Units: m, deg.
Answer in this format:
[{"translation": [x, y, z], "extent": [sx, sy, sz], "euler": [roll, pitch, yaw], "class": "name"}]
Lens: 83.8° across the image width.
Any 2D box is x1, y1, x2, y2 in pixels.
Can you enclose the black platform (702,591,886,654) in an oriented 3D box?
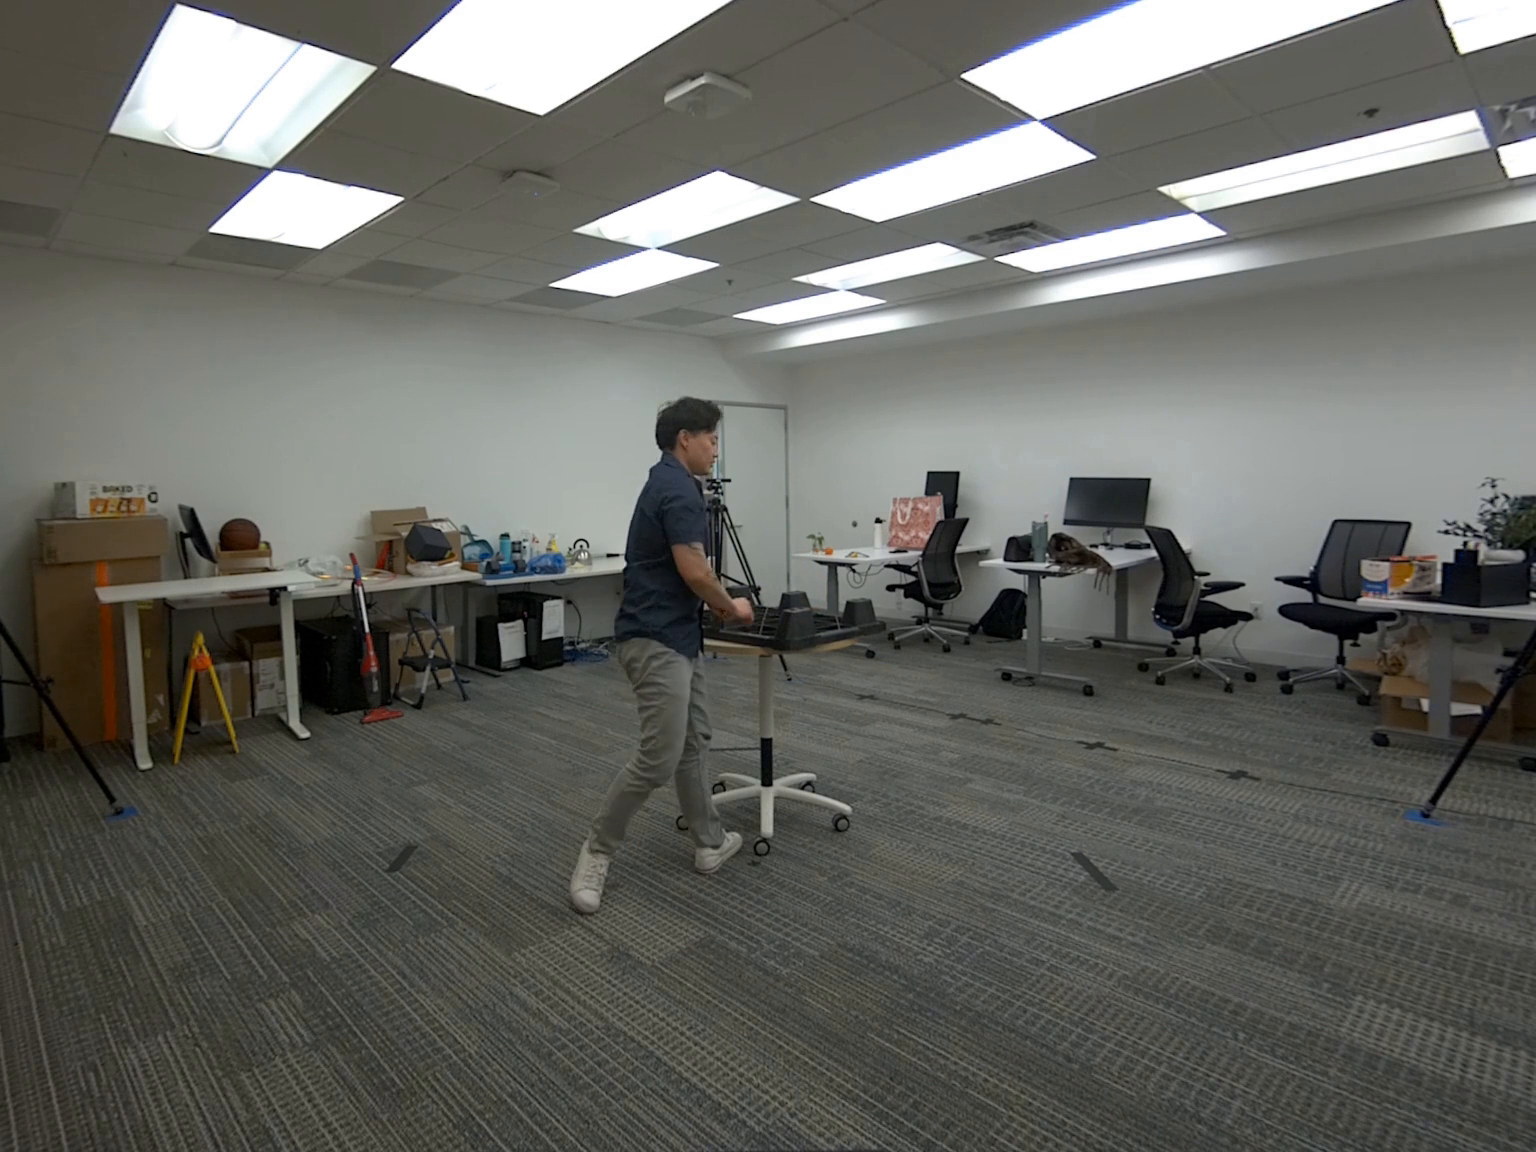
[{"translation": [-0.007, 0.153, 3.483], "extent": [0.831, 0.143, 0.589], "euler": [5, 9, 44], "class": "black platform"}]
